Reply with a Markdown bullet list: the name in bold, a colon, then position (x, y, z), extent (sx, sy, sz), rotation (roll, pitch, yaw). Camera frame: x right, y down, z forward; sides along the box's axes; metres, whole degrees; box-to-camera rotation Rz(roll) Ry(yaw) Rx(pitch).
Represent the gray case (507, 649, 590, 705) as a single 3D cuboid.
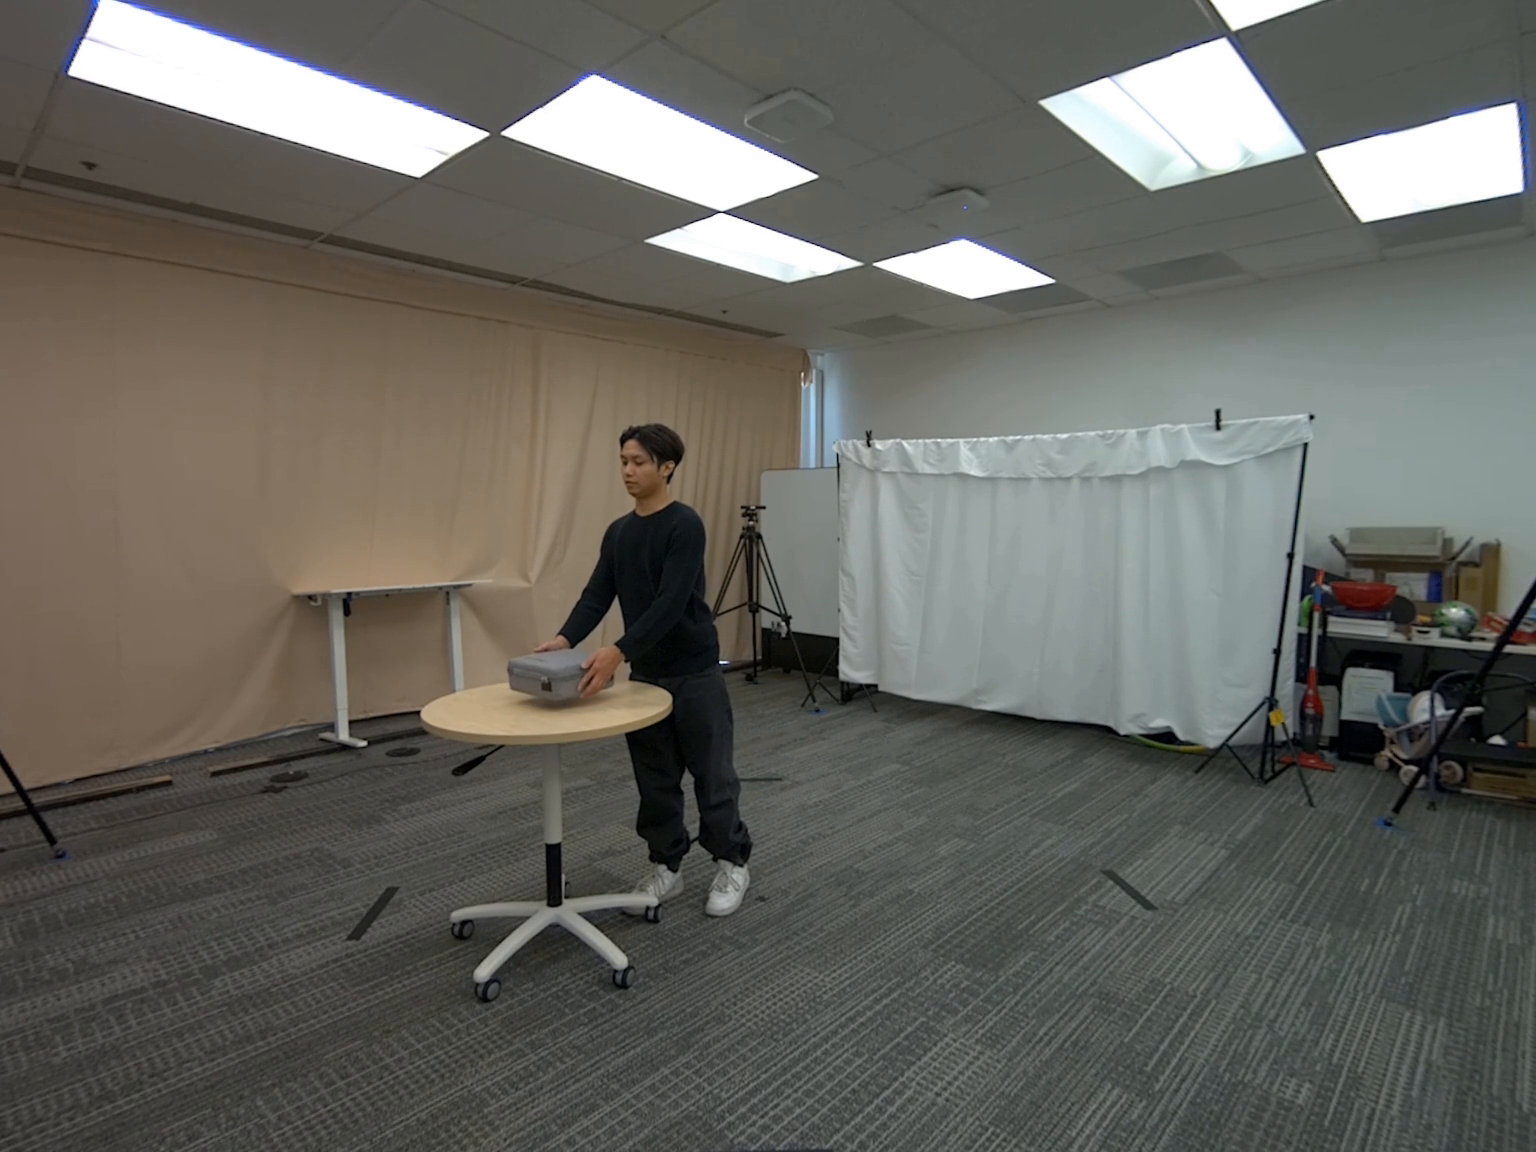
- **gray case**: position (-0.657, 0.306, 2.631), extent (0.265, 0.104, 0.253), rotation (2, 6, 39)
